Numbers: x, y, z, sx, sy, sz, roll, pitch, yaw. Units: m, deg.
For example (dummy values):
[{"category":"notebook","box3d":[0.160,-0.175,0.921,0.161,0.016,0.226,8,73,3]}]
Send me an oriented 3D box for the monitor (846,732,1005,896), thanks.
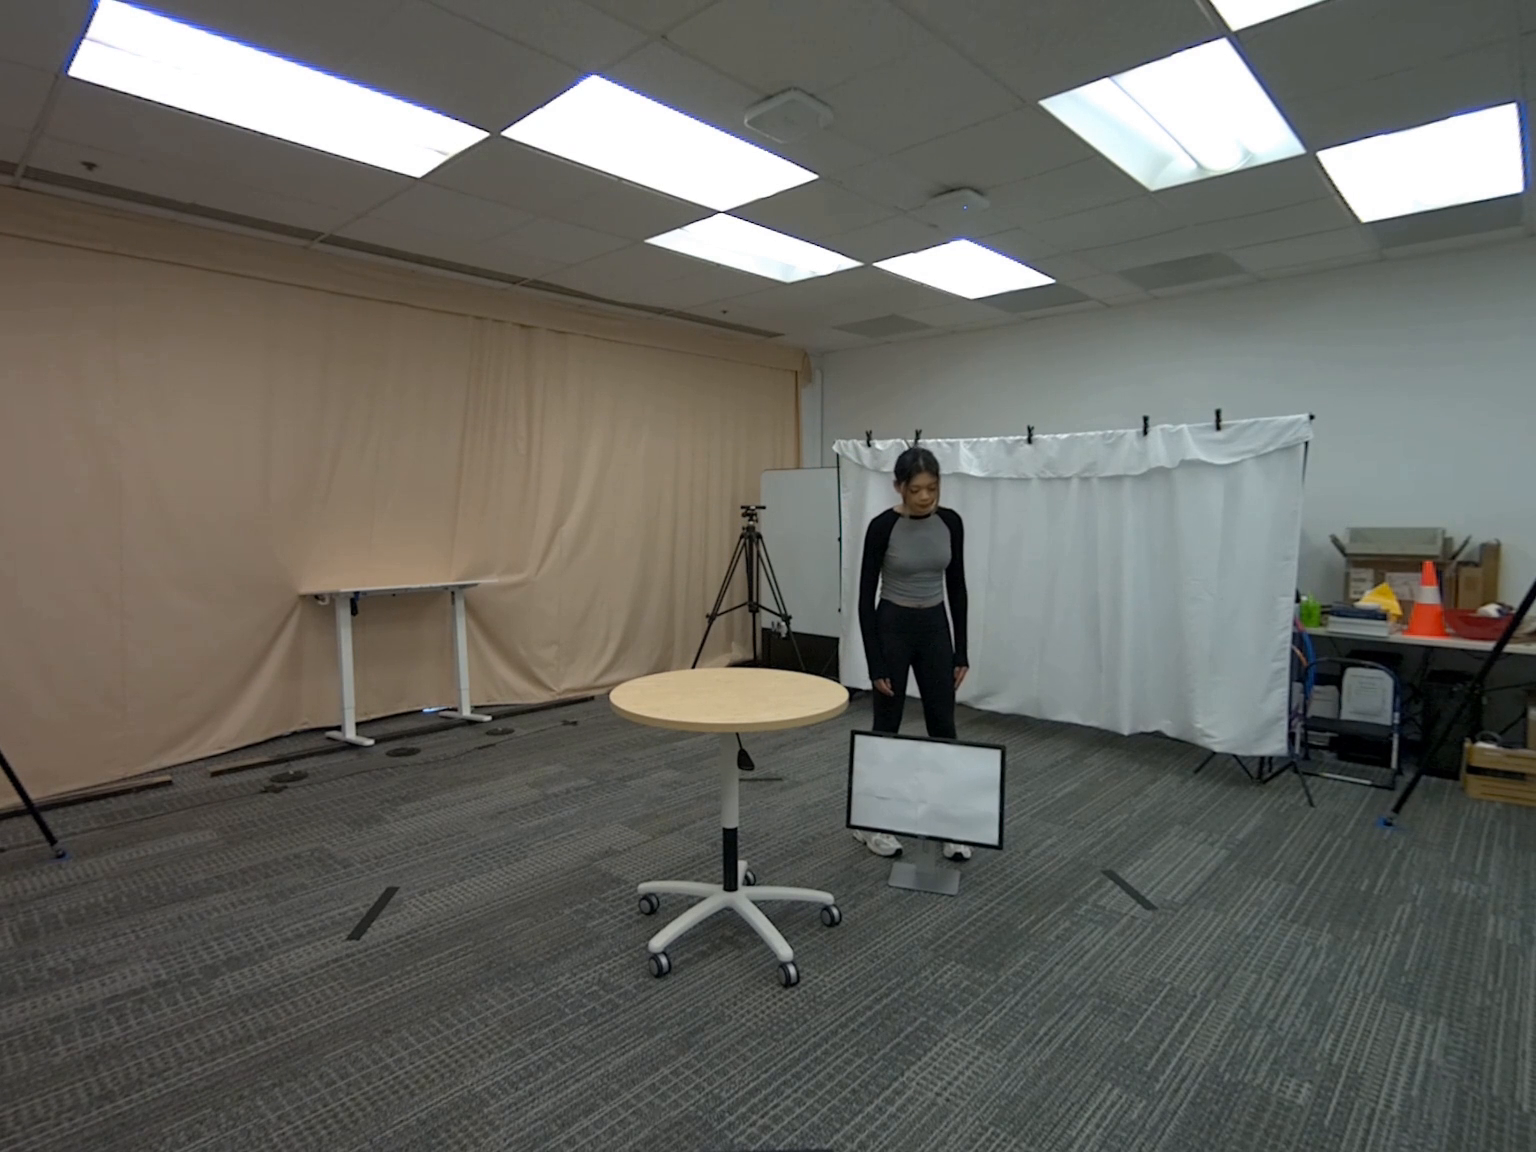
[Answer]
[{"category":"monitor","box3d":[0.588,0.866,3.117,0.549,0.521,0.184,2,5,17]}]
